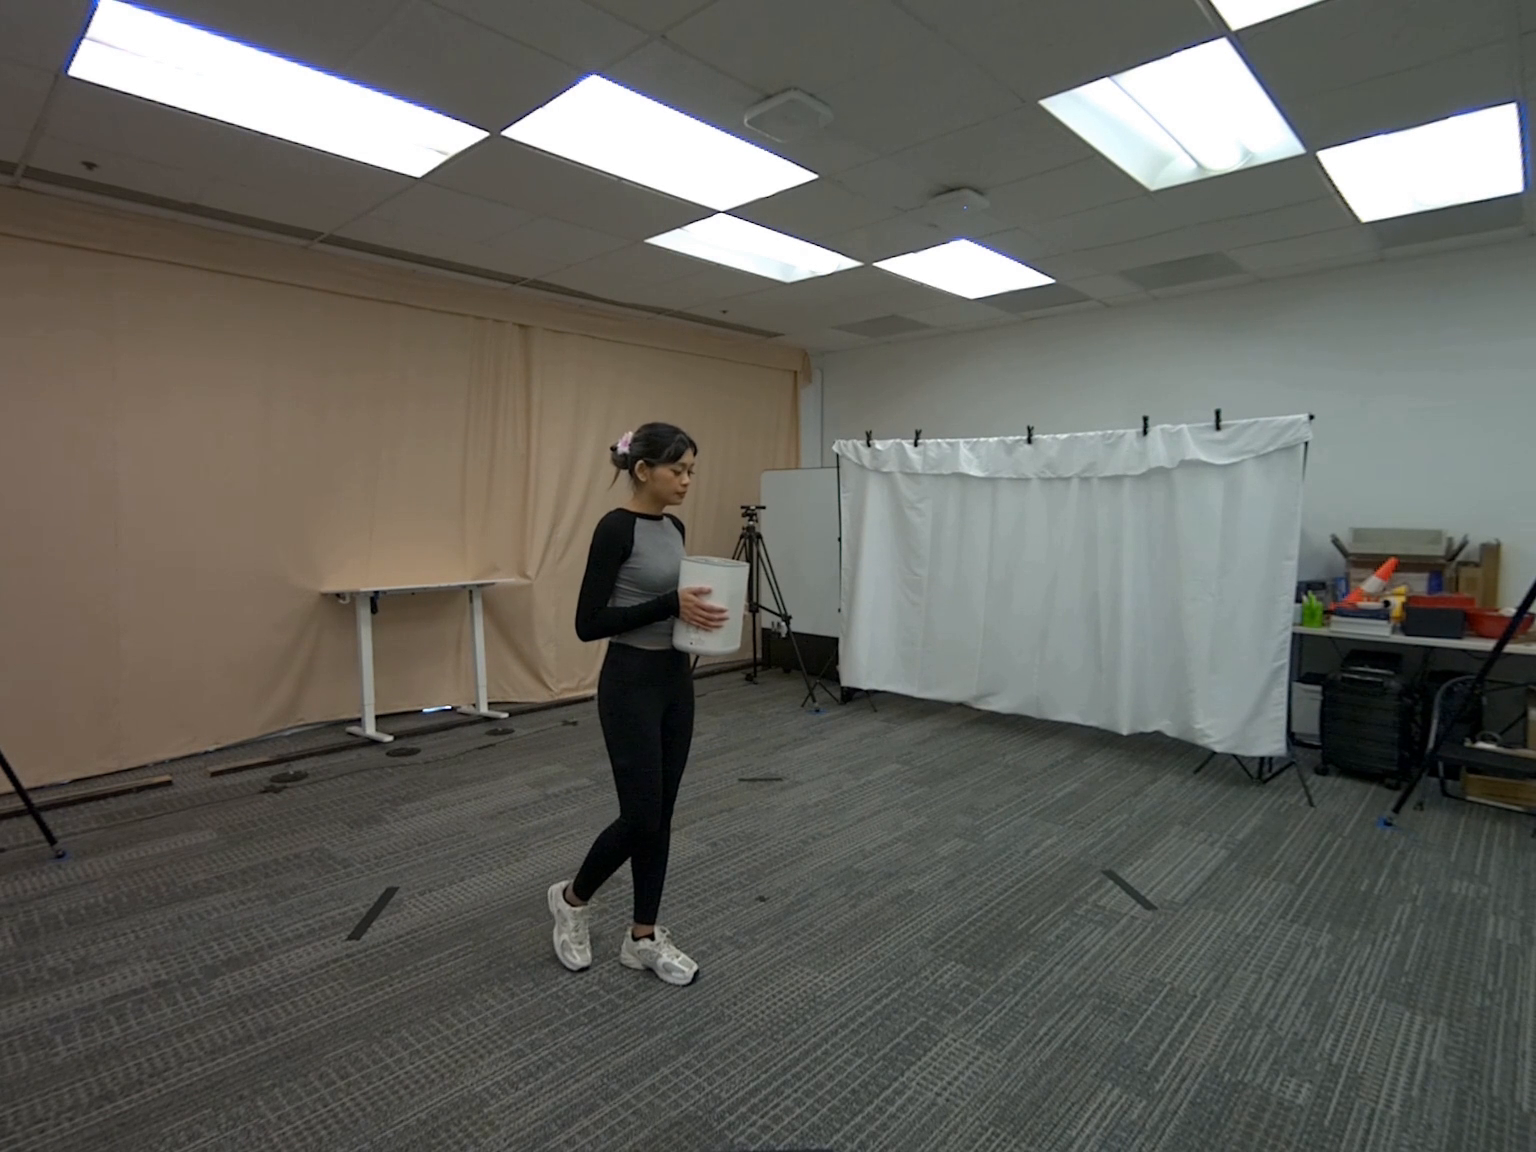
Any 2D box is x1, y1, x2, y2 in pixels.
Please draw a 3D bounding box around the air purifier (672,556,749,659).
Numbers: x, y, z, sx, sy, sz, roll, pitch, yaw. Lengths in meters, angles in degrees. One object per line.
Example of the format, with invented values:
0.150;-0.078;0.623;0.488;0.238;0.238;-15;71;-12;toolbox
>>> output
-0.165;0.088;2.369;0.176;0.265;0.167;9;5;27;air purifier
